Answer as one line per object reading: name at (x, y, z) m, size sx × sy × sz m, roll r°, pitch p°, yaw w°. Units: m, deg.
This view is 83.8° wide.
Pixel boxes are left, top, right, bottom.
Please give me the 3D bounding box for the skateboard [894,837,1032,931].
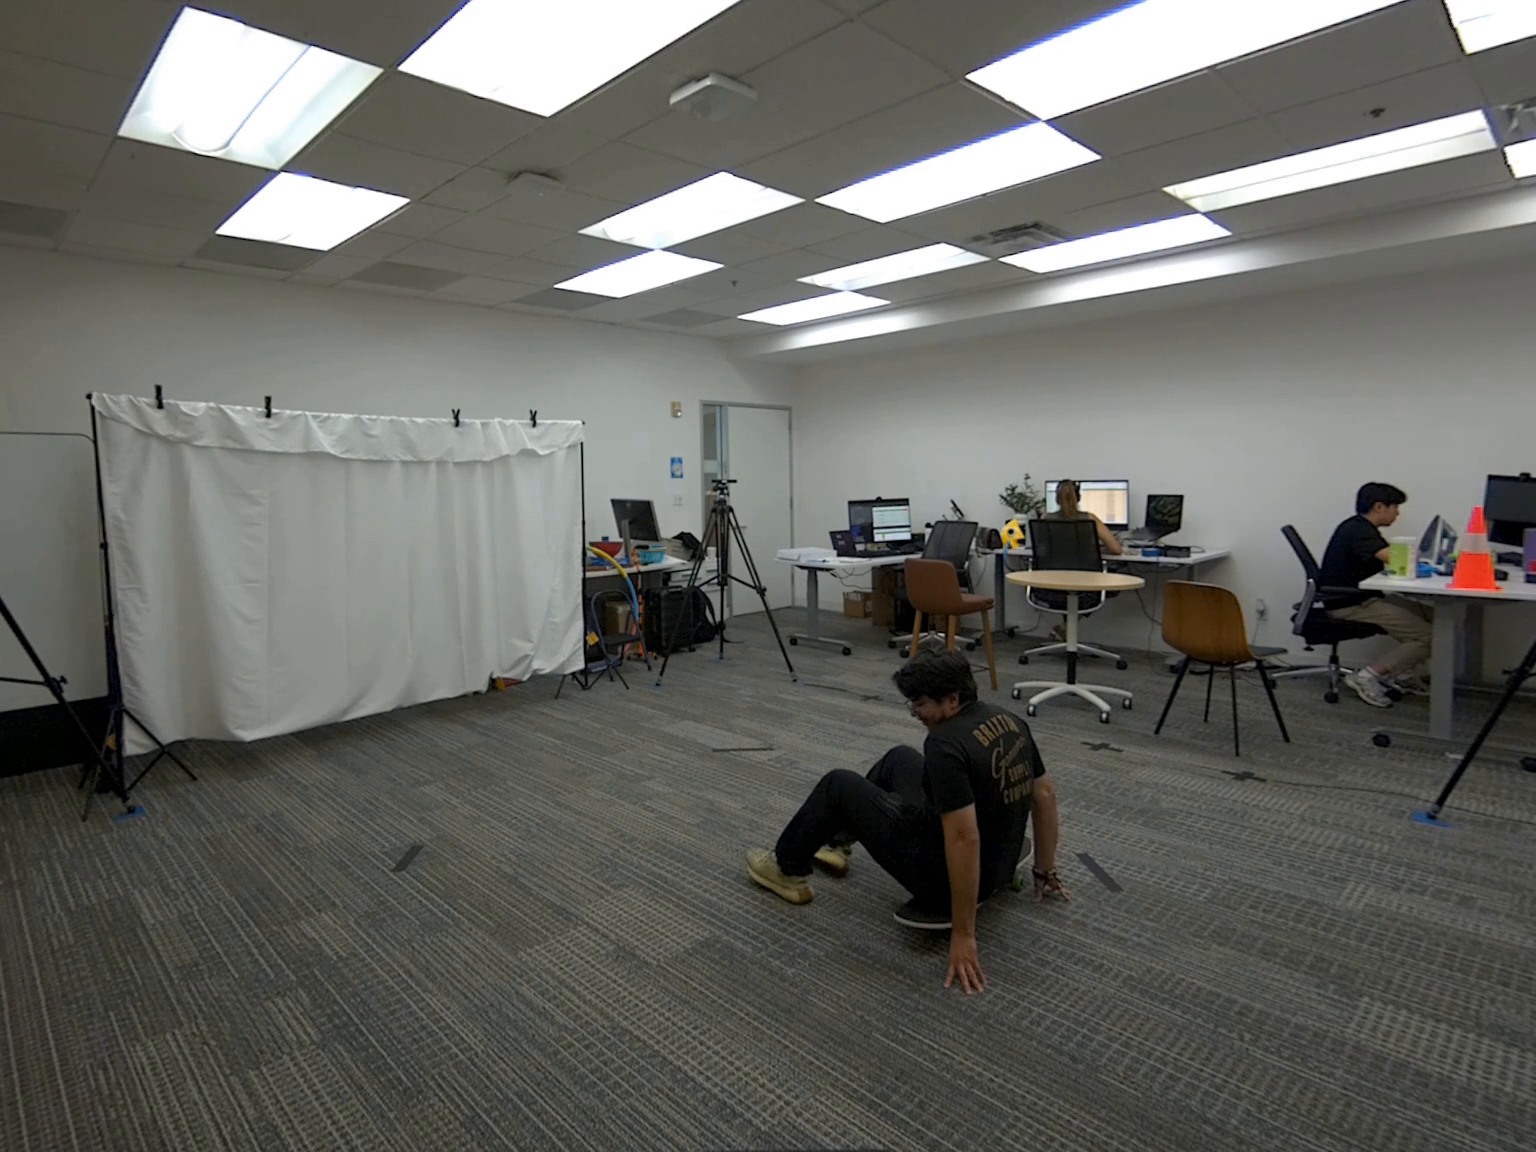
skateboard at (0.662, 1.018, 2.777) m, size 0.199 × 0.110 × 0.766 m, roll -3°, pitch 4°, yaw 41°
